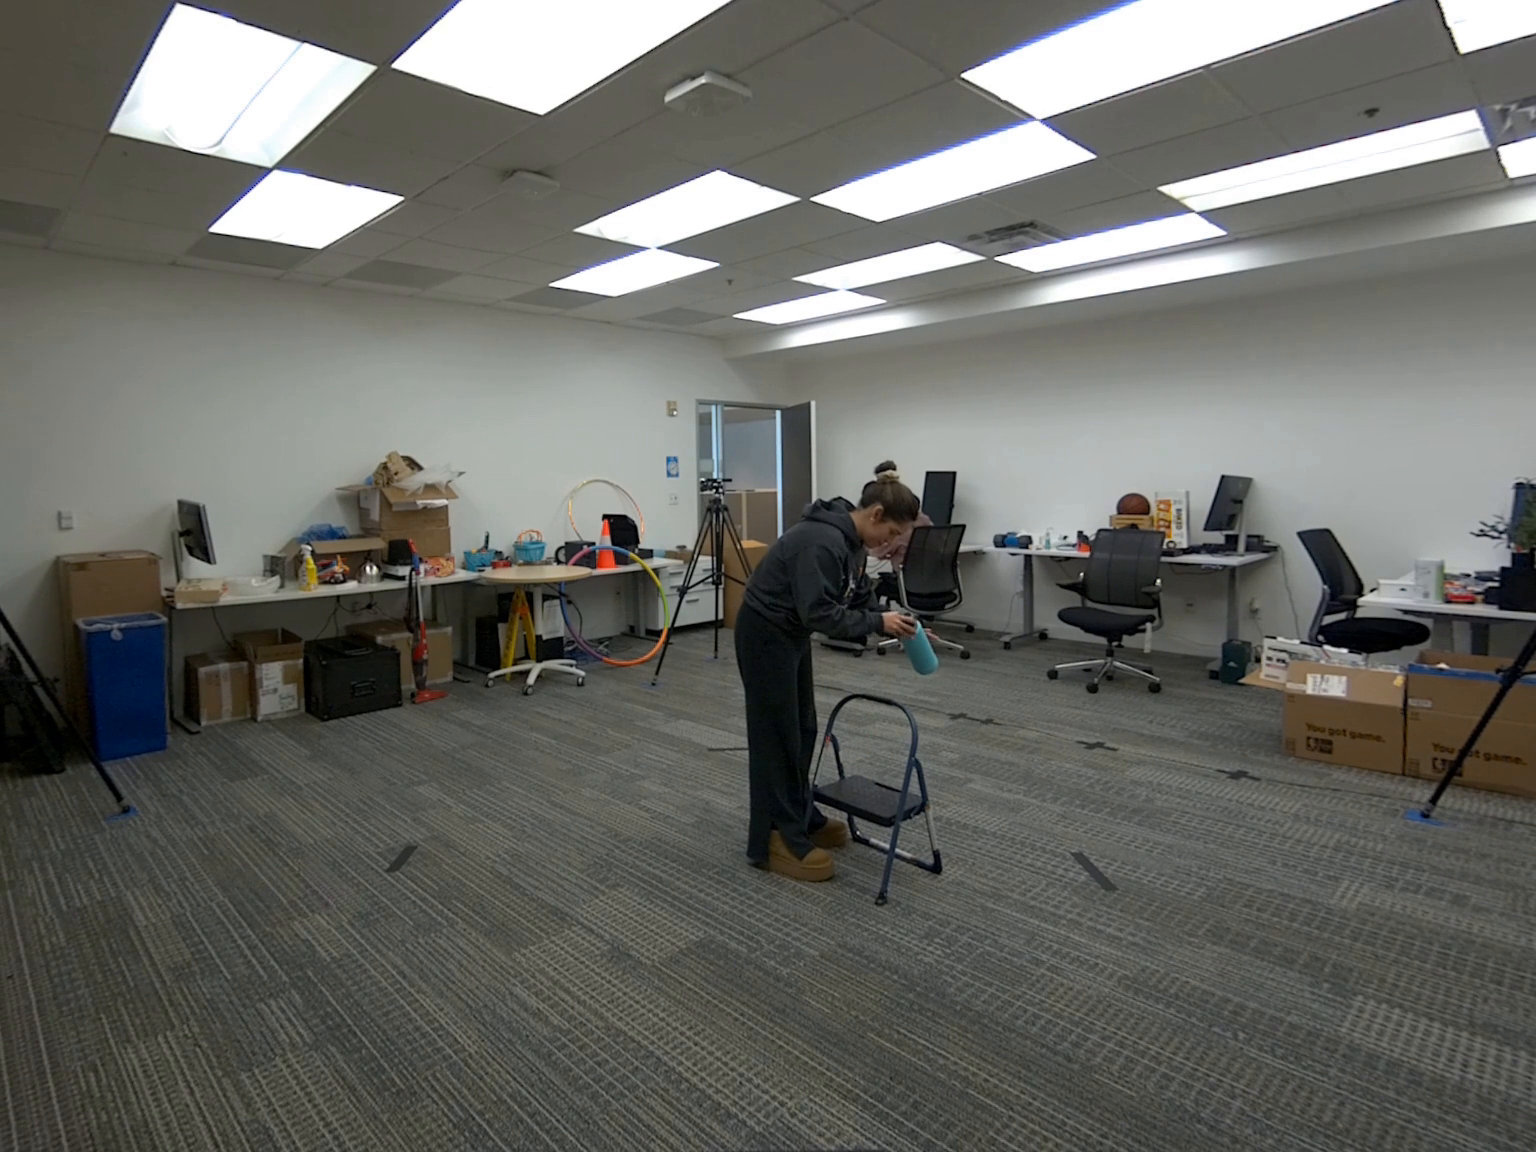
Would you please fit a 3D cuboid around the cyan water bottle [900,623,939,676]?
[{"bbox_3d":[0.508,0.243,3.040,0.093,0.274,0.095,-22,32,14],"label":"cyan water bottle"}]
